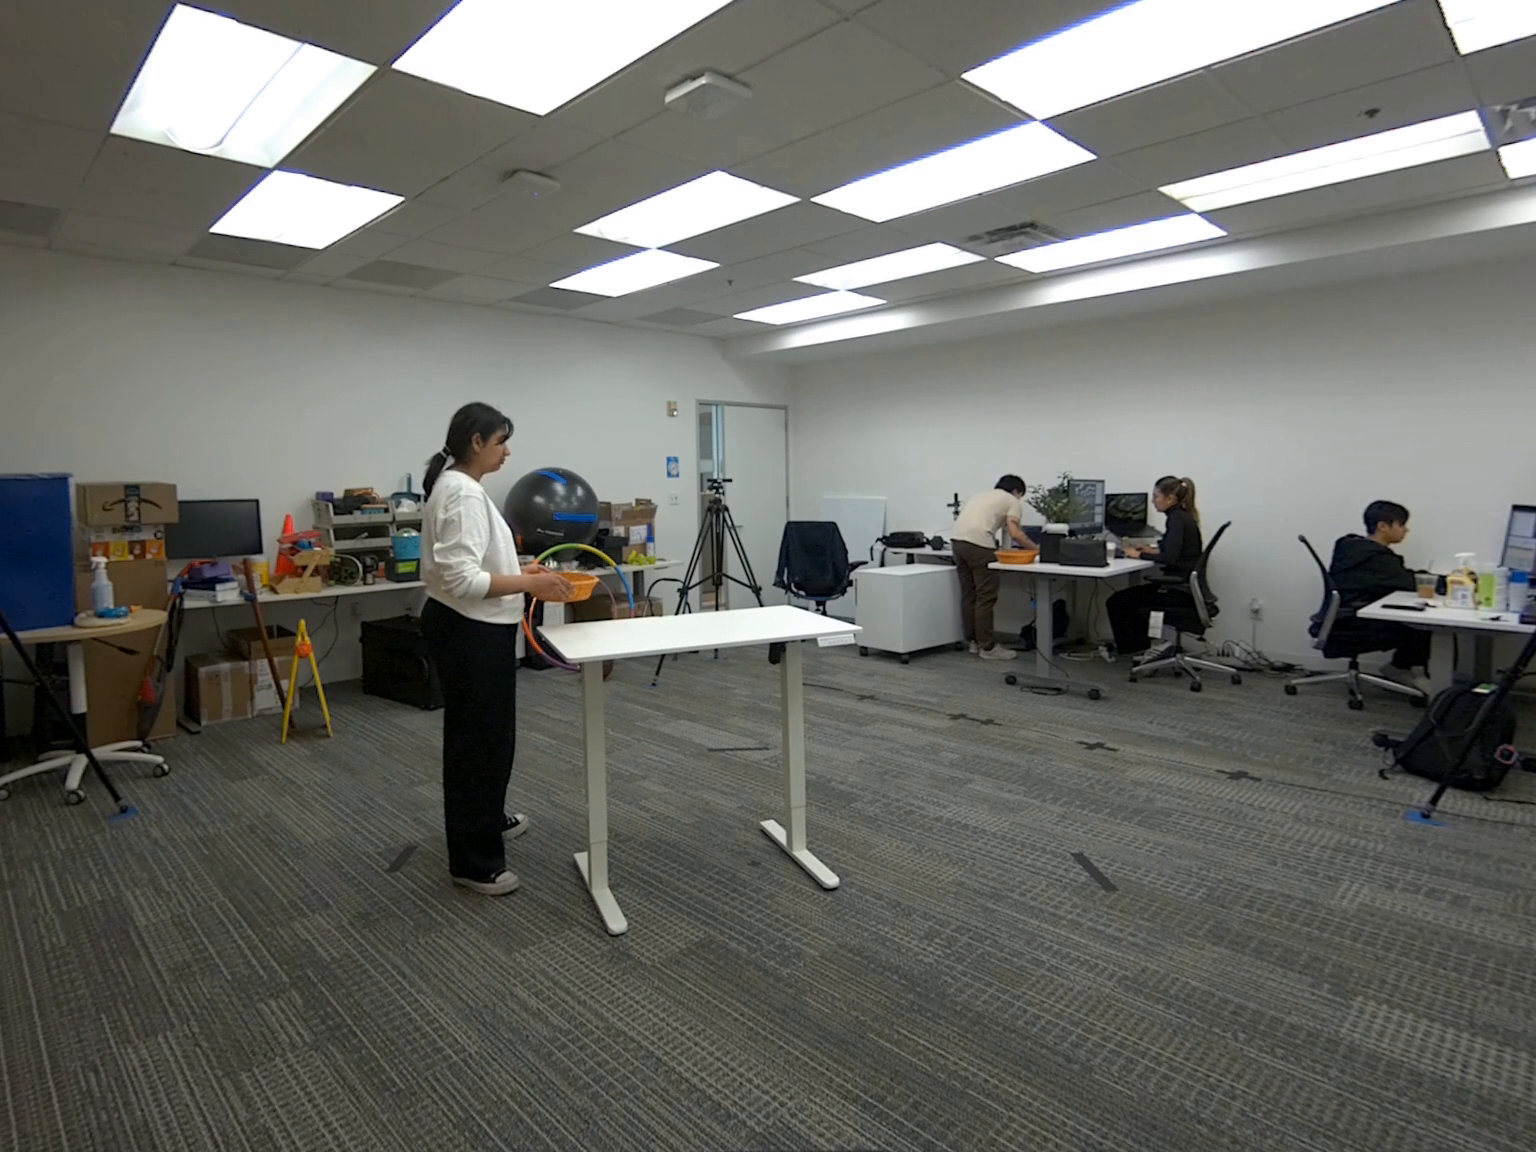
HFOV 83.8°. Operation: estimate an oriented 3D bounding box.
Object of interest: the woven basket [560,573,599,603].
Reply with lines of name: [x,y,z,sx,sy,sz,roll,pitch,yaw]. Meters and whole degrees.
woven basket: [-0.798,0.043,3.156,0.246,0.073,0.361,-5,8,-38]
